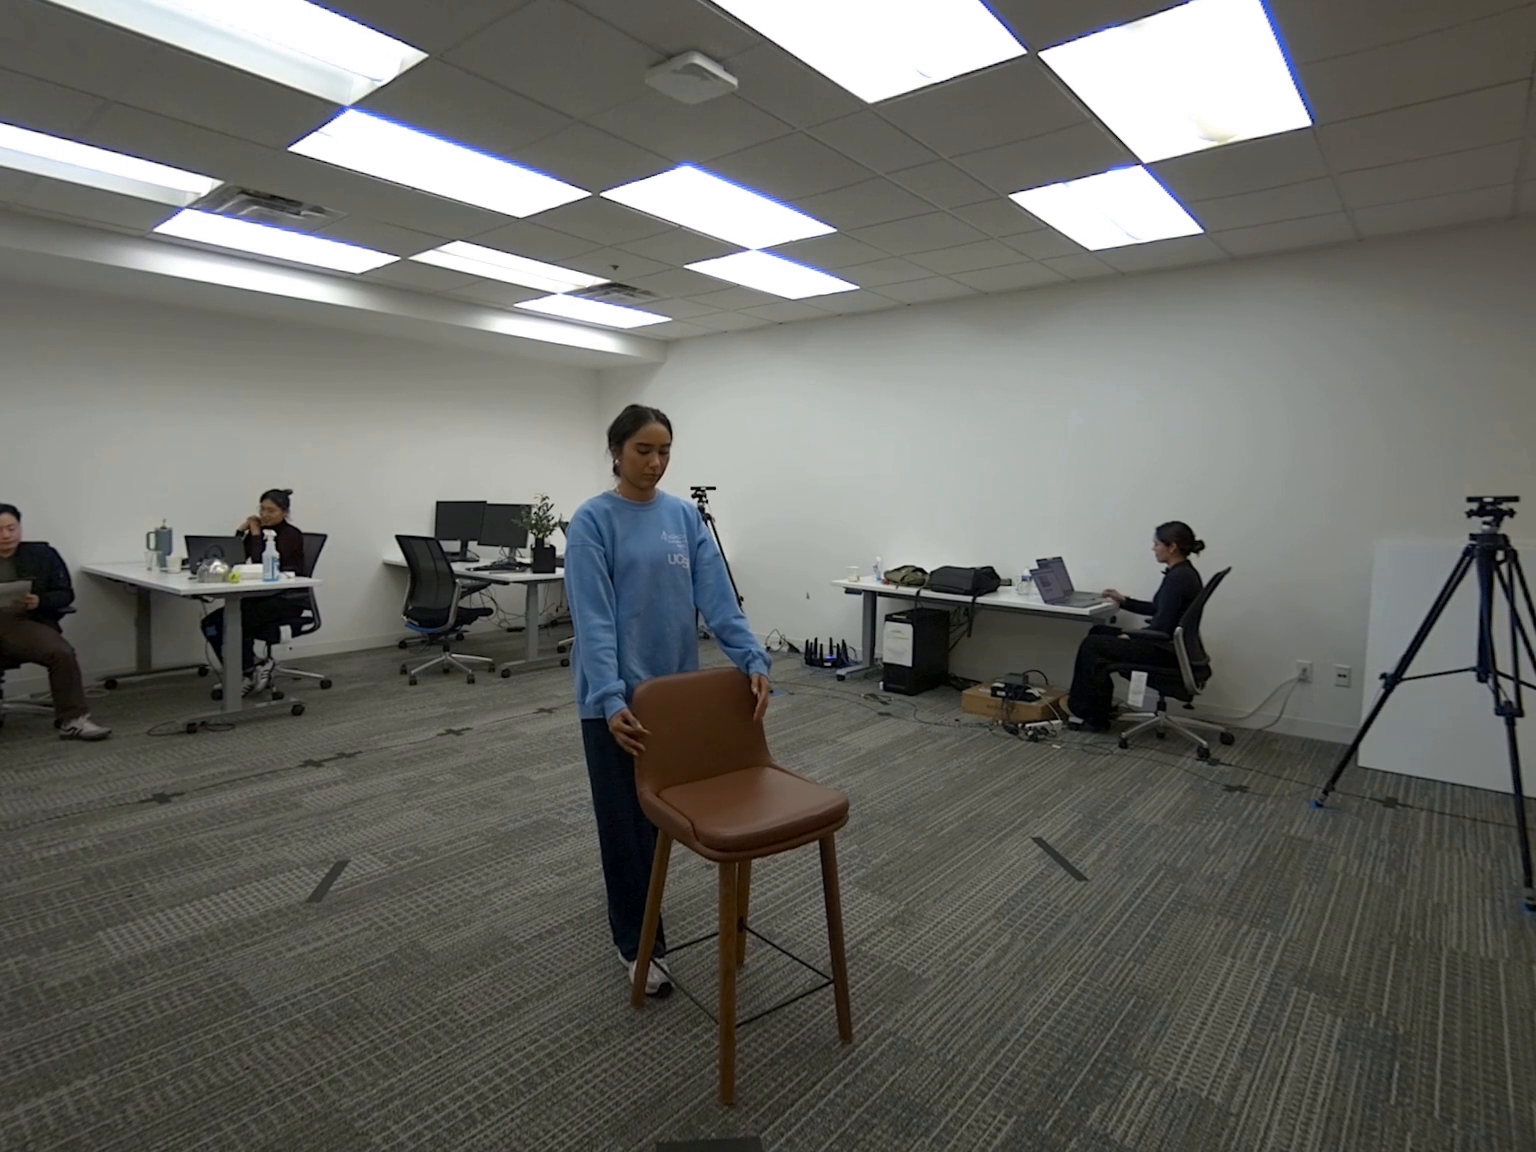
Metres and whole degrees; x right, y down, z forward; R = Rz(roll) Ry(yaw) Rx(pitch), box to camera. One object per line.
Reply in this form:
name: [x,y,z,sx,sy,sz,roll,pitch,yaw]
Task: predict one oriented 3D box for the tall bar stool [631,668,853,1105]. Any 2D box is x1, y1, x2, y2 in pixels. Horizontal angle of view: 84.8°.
tall bar stool: [-0.079,0.720,2.191,0.443,0.889,0.482,-2,2,-37]
